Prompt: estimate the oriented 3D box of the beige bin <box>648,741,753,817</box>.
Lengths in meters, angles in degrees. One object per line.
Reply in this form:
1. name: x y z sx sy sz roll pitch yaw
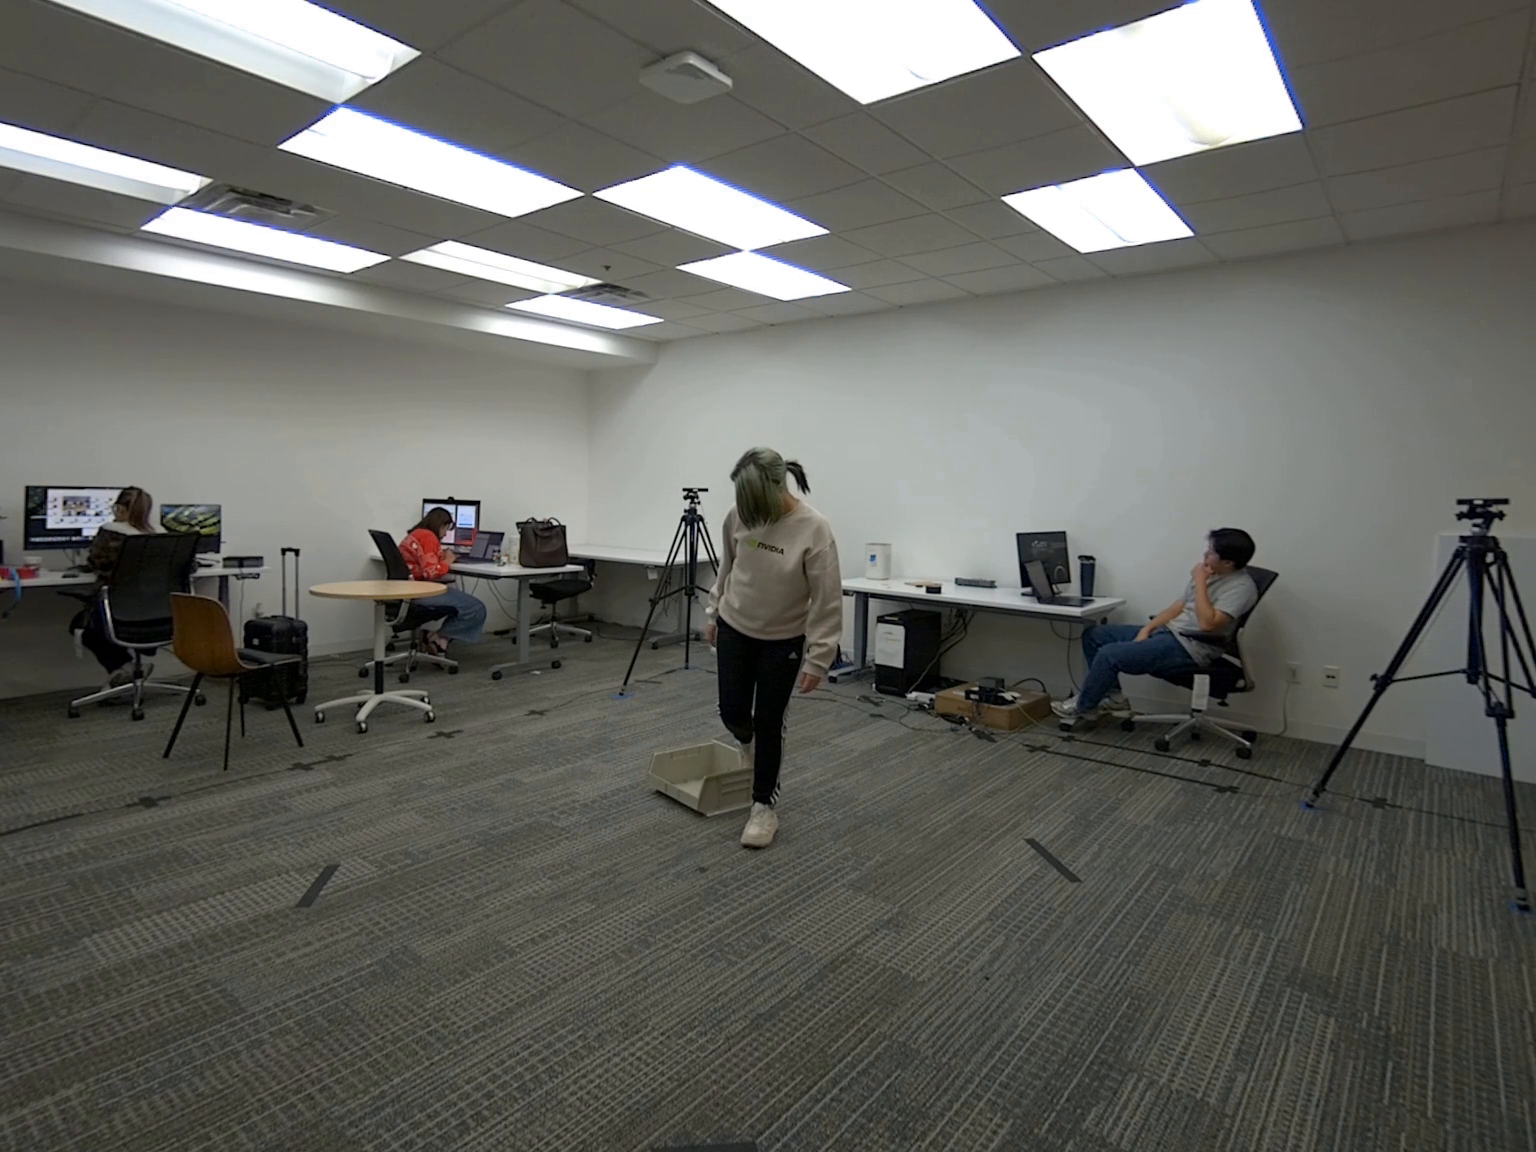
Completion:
1. beige bin: -0.295 0.906 3.846 0.366 0.188 0.436 -1 5 -38
